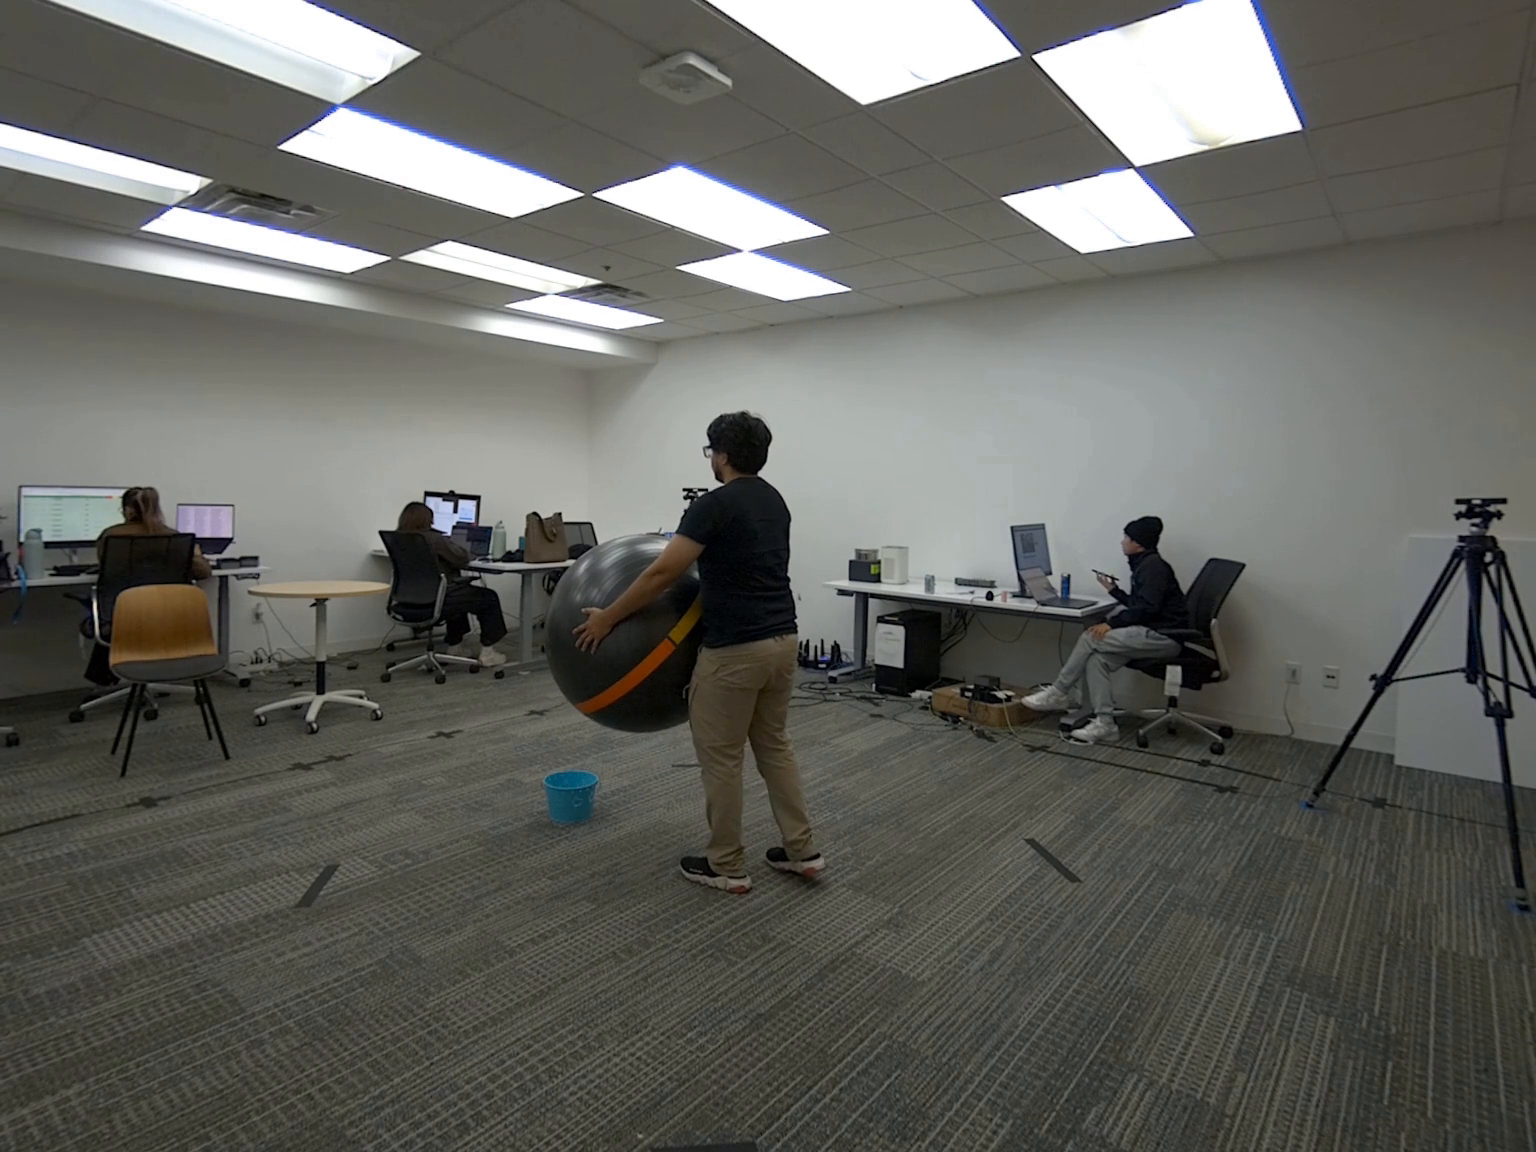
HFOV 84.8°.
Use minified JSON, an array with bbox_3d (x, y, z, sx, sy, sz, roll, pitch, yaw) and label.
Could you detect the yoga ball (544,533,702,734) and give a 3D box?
[{"bbox_3d":[-0.499,0.227,3.309,0.757,0.756,0.762,1,4,-2],"label":"yoga ball"}]
